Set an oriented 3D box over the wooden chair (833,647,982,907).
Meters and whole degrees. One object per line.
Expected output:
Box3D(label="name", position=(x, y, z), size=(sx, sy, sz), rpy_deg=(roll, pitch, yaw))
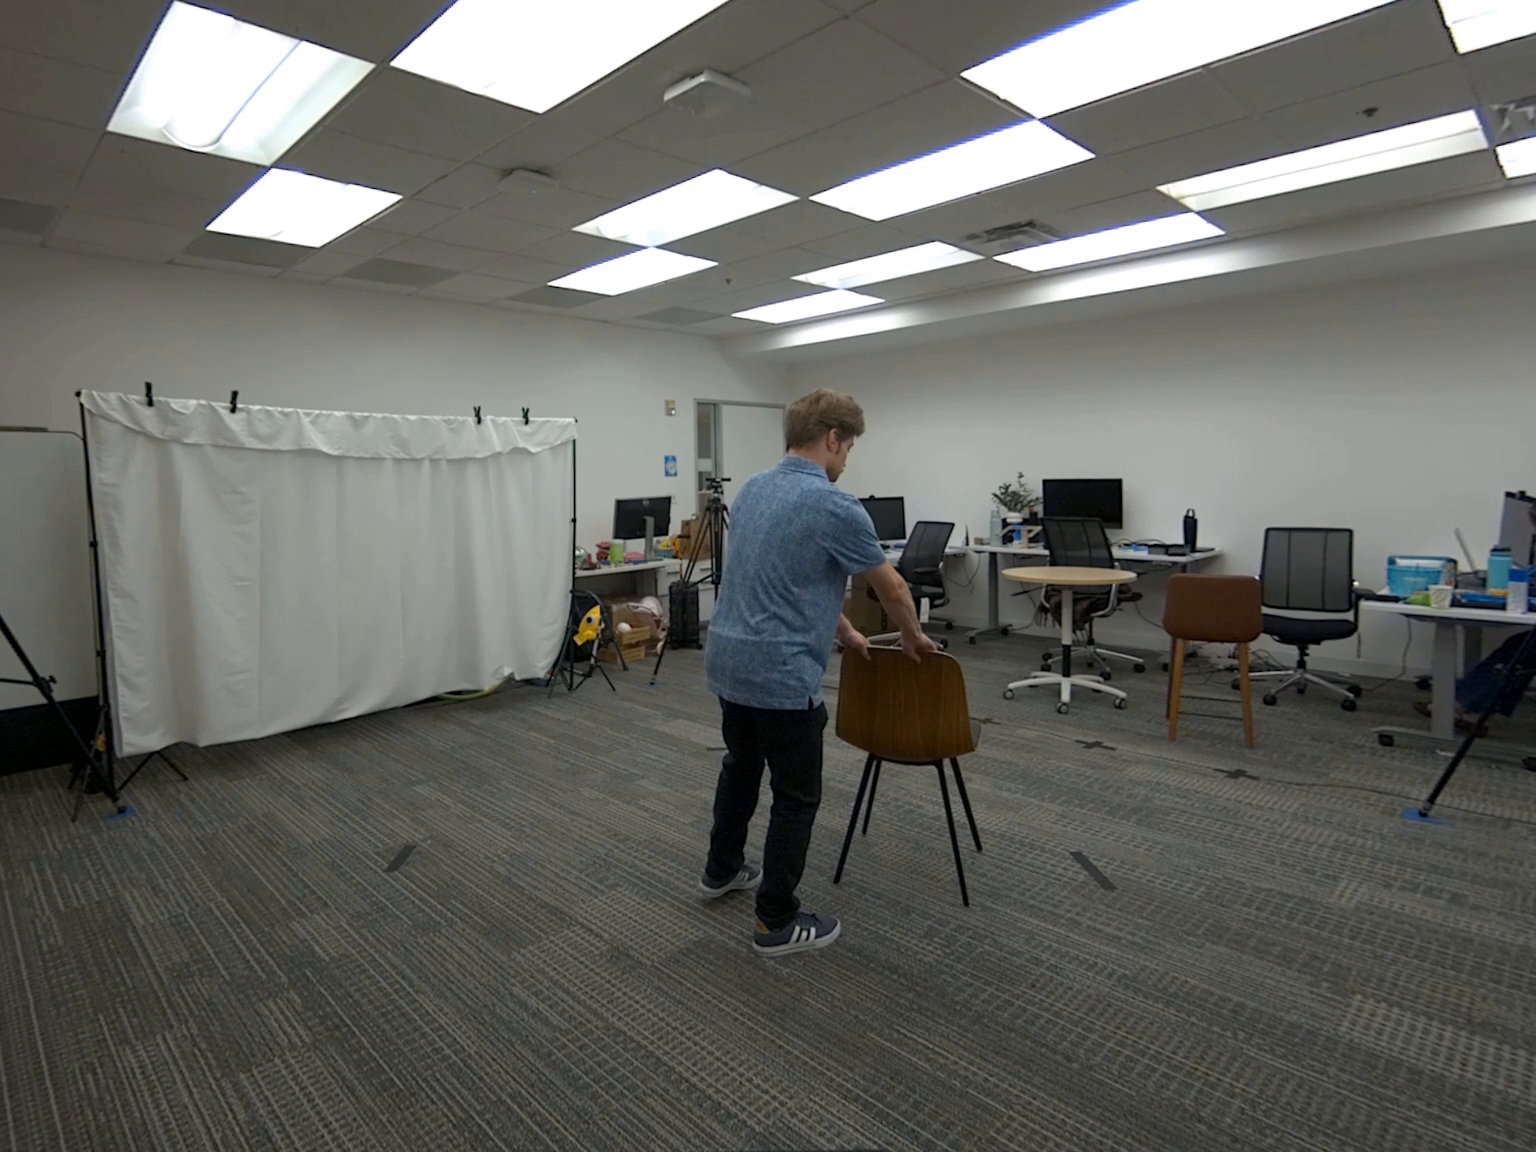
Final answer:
Box3D(label="wooden chair", position=(0.506, 0.614, 3.028), size=(0.488, 0.871, 0.516), rpy_deg=(1, 9, 22))
